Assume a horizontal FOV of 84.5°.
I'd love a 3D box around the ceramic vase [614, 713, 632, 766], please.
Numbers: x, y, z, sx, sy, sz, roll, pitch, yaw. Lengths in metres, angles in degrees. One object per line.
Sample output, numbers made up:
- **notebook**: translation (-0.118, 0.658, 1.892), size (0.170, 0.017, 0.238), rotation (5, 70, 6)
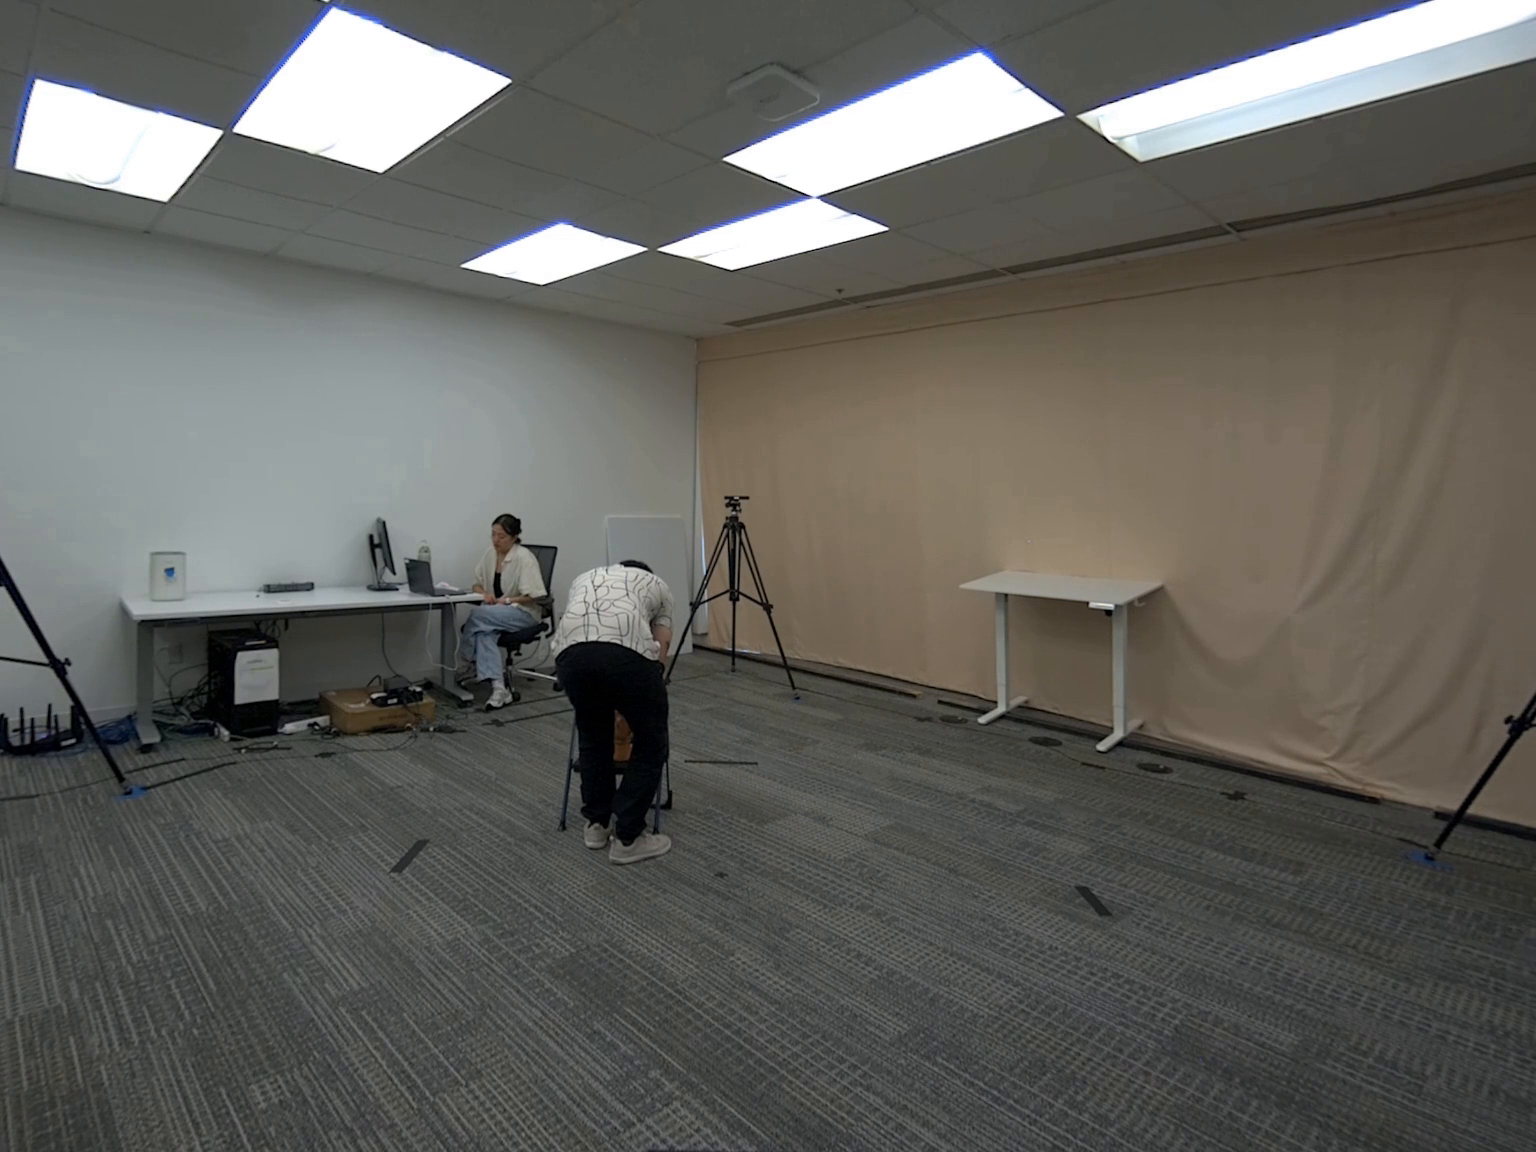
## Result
- **ceramic vase**: translation (-0.624, 0.666, 3.610), size (0.138, 0.219, 0.155), rotation (4, 2, 40)
